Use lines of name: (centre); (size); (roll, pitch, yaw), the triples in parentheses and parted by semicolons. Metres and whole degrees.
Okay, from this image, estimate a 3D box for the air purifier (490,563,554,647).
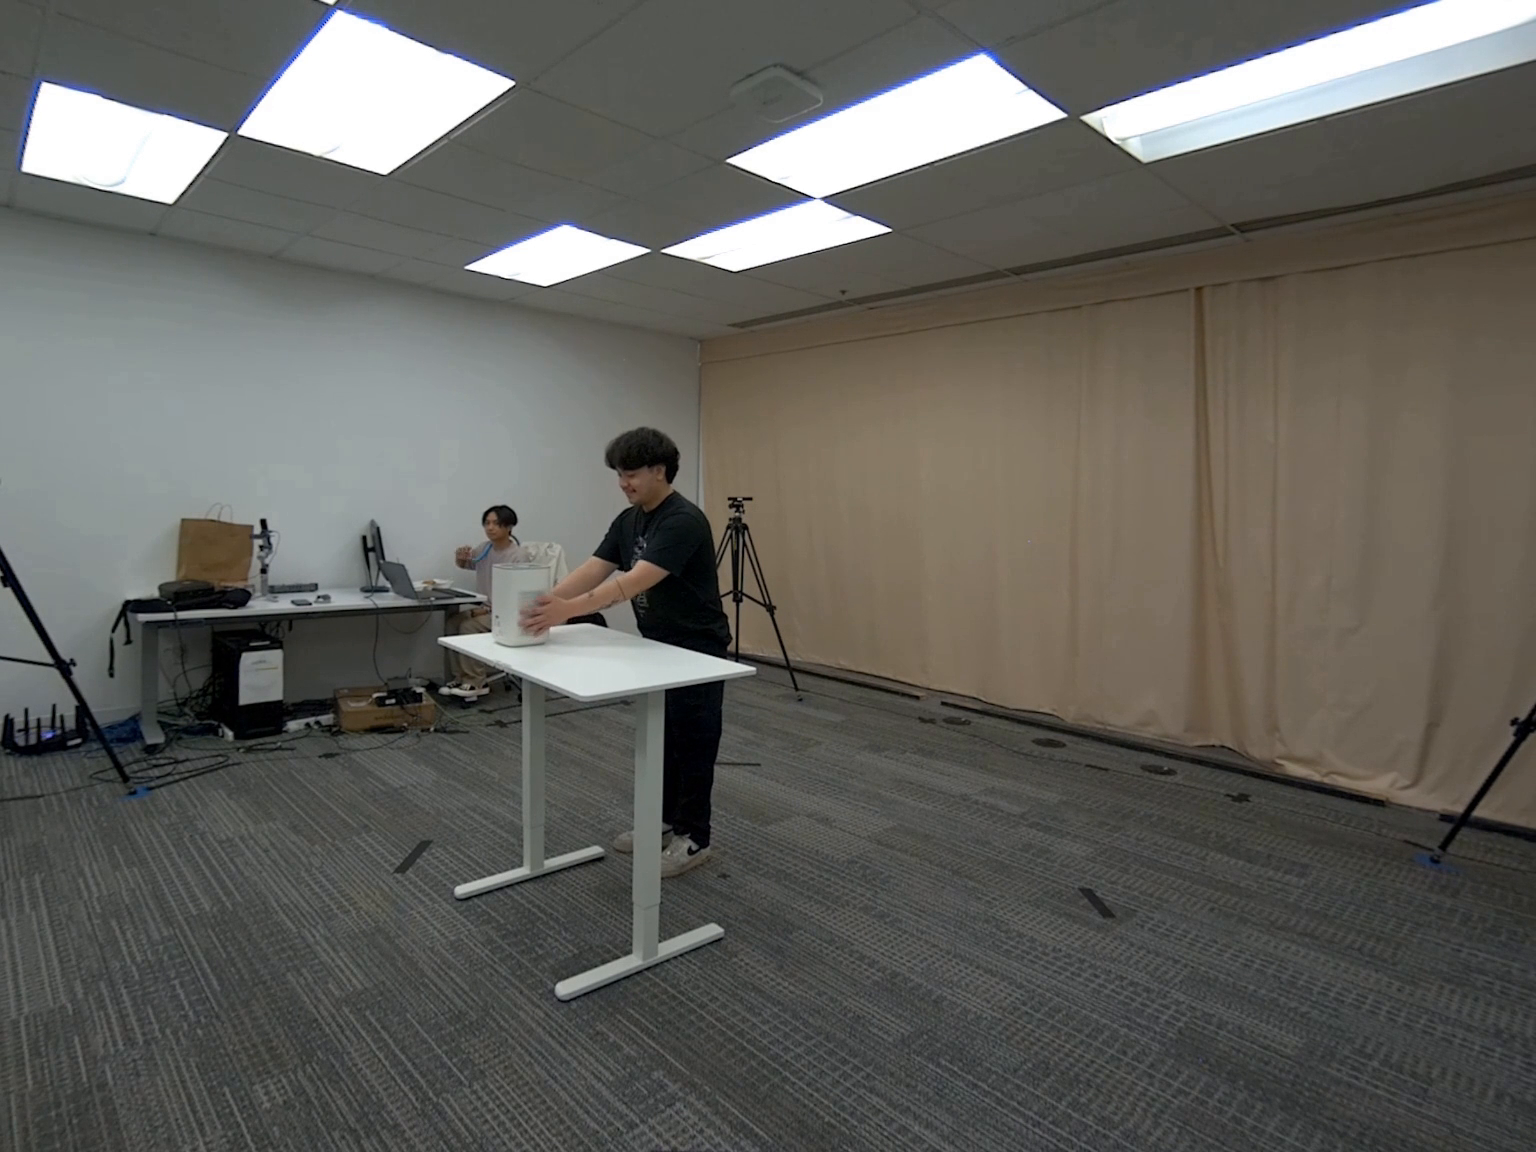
air purifier: (-0.848, 0.096, 2.863); (0.168, 0.264, 0.175); (-2, 5, -41)
